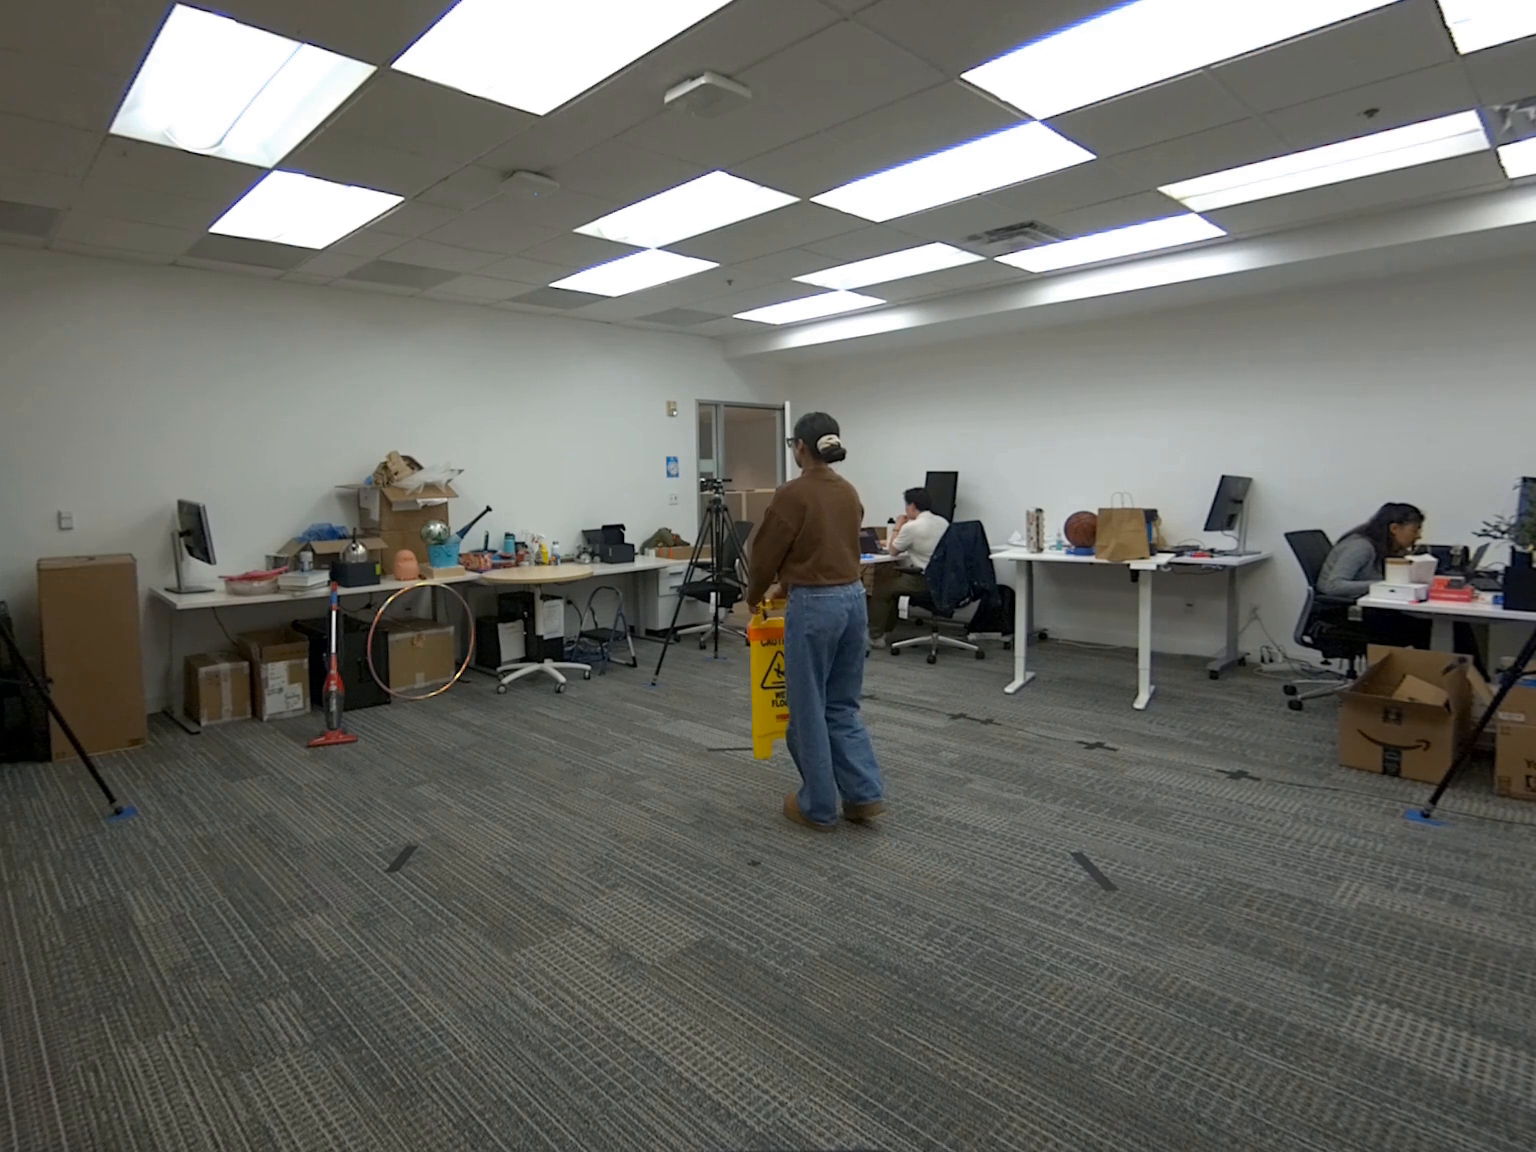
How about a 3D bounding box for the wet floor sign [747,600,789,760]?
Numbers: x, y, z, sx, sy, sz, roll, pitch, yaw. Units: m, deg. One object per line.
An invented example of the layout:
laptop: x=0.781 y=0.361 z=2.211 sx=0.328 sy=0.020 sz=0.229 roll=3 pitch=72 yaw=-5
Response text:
wet floor sign: x=0.053 y=0.432 z=3.732 sx=0.282 sy=0.644 sz=0.291 roll=-5 pitch=4 yaw=-1
